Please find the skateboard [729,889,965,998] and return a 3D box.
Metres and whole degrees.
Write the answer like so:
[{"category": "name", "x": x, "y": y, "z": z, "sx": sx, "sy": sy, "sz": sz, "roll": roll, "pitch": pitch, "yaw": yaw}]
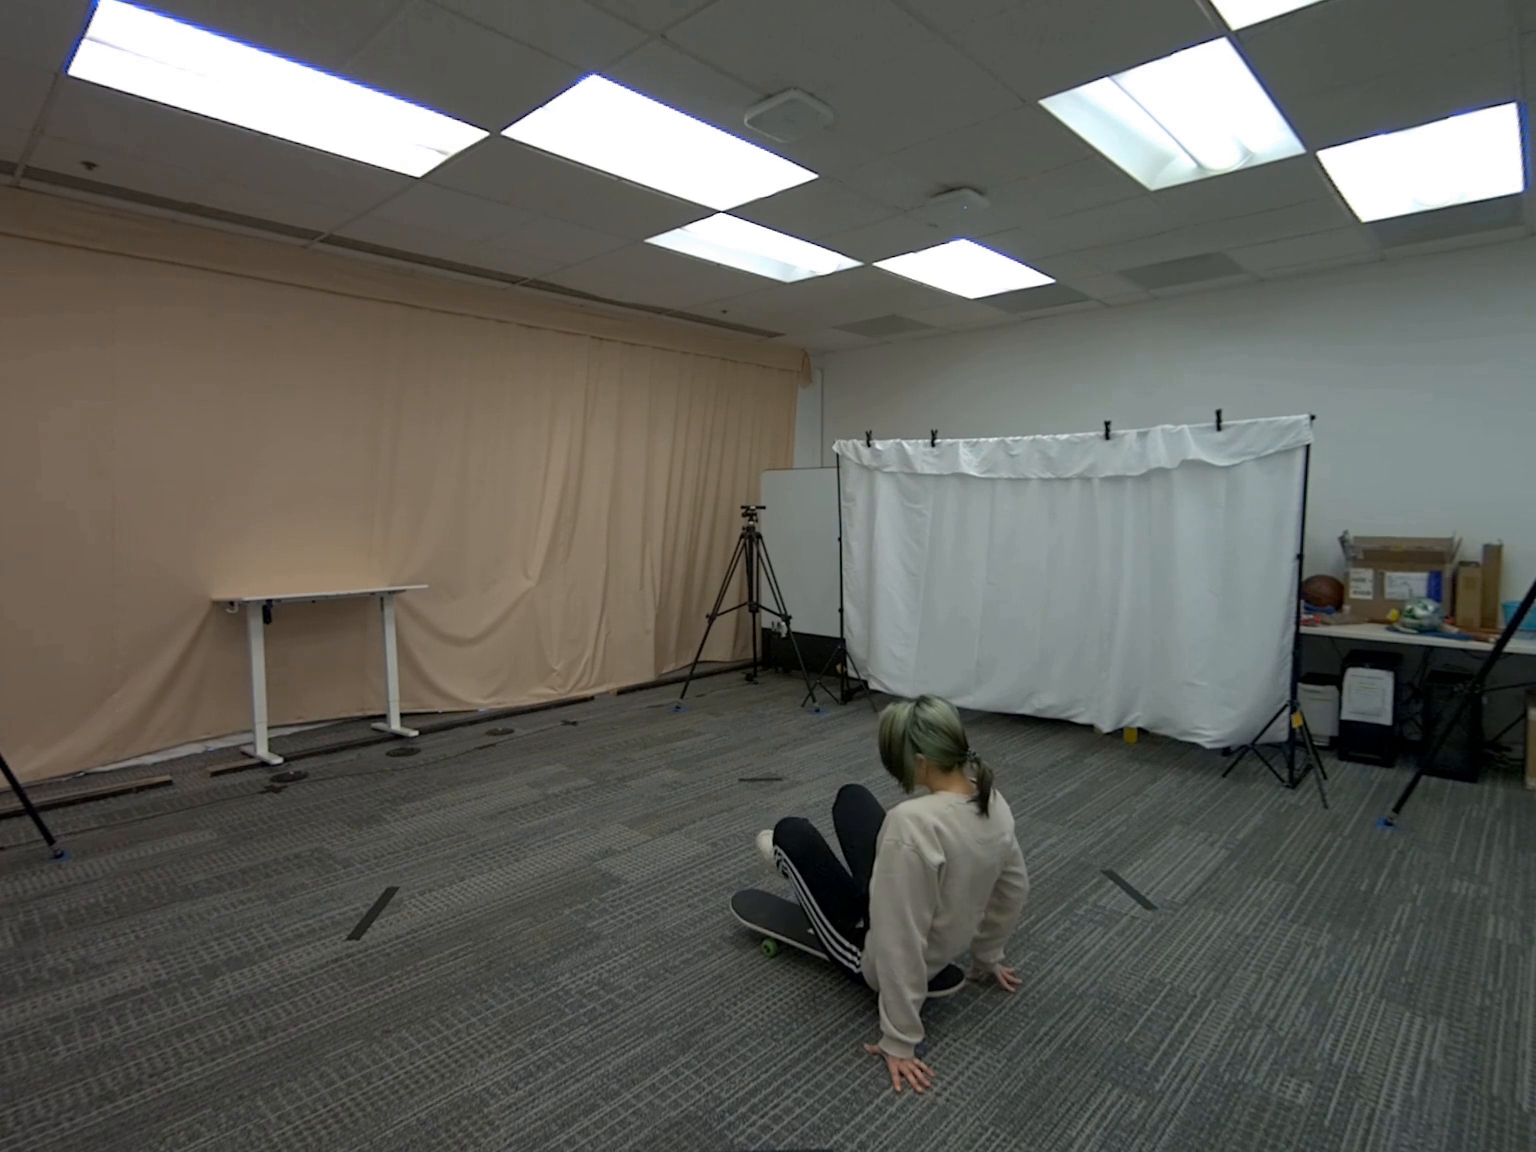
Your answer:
[{"category": "skateboard", "x": 0.215, "y": 1.131, "z": 2.535, "sx": 0.811, "sy": 0.110, "sz": 0.188, "roll": 4, "pitch": 8, "yaw": 38}]
